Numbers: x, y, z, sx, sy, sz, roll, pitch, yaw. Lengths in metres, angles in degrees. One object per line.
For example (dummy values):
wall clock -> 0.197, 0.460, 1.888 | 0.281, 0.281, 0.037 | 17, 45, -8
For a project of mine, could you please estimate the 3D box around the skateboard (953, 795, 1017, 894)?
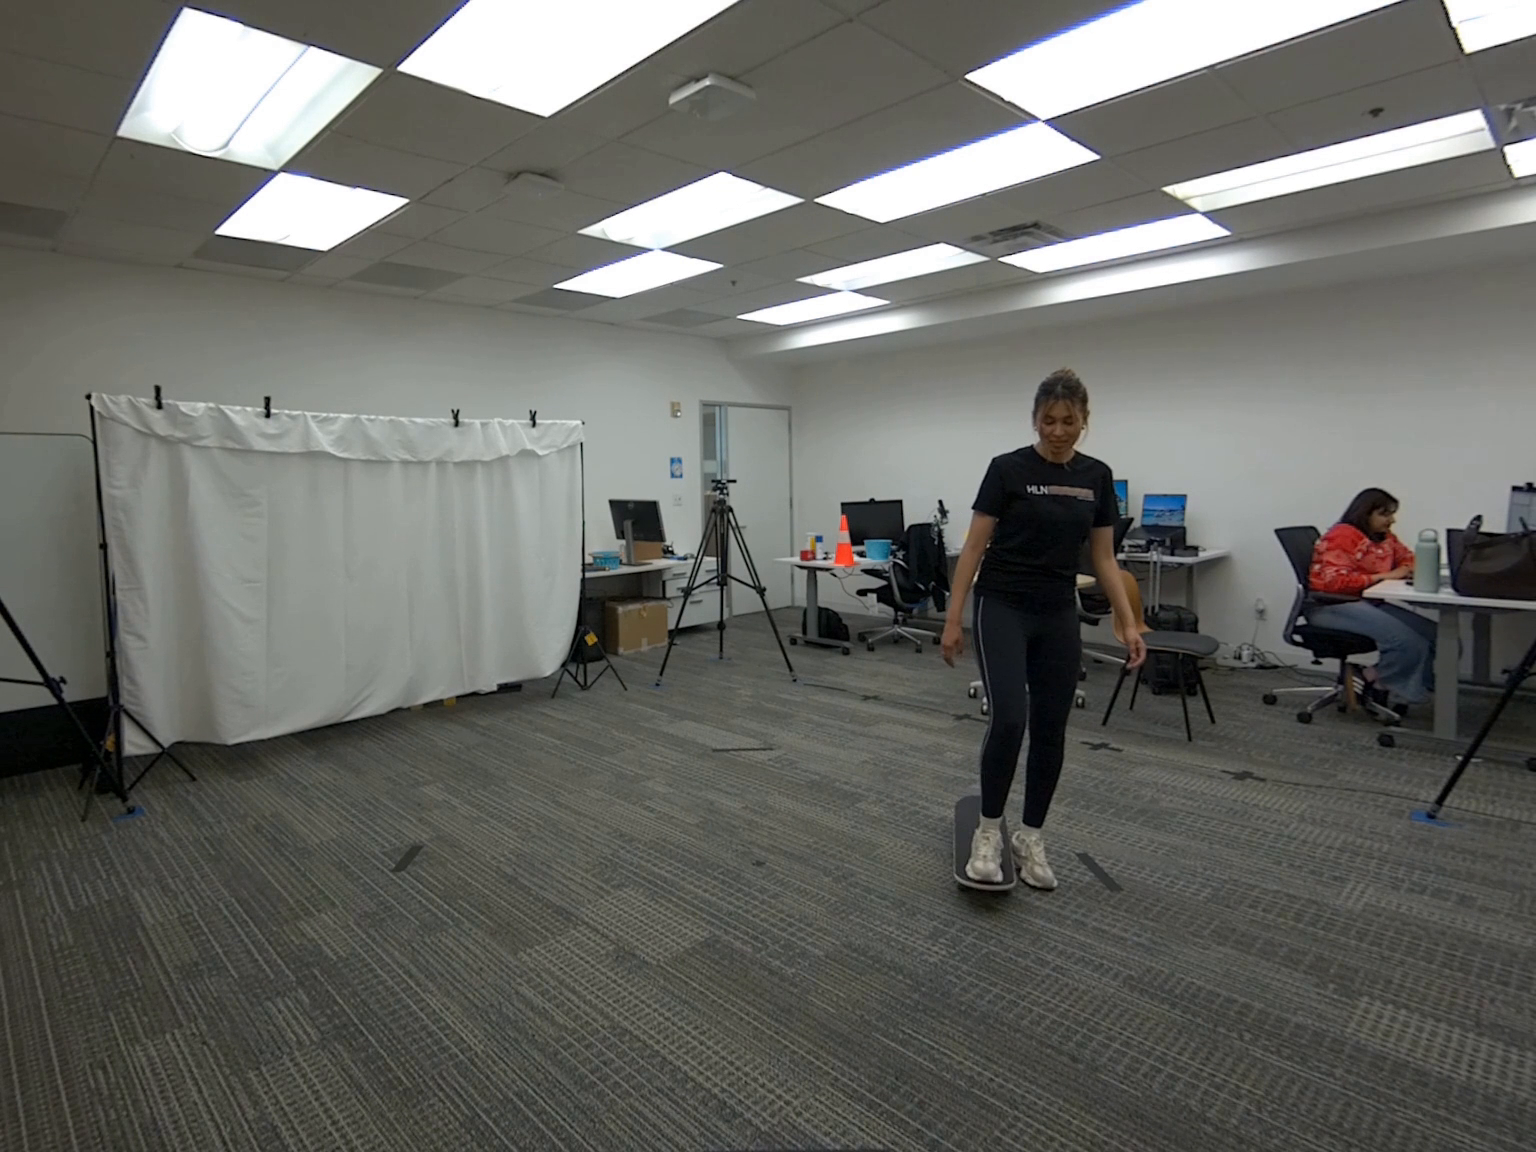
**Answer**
skateboard -> 0.762, 0.977, 3.066 | 0.195, 0.110, 0.781 | 0, 7, 10
